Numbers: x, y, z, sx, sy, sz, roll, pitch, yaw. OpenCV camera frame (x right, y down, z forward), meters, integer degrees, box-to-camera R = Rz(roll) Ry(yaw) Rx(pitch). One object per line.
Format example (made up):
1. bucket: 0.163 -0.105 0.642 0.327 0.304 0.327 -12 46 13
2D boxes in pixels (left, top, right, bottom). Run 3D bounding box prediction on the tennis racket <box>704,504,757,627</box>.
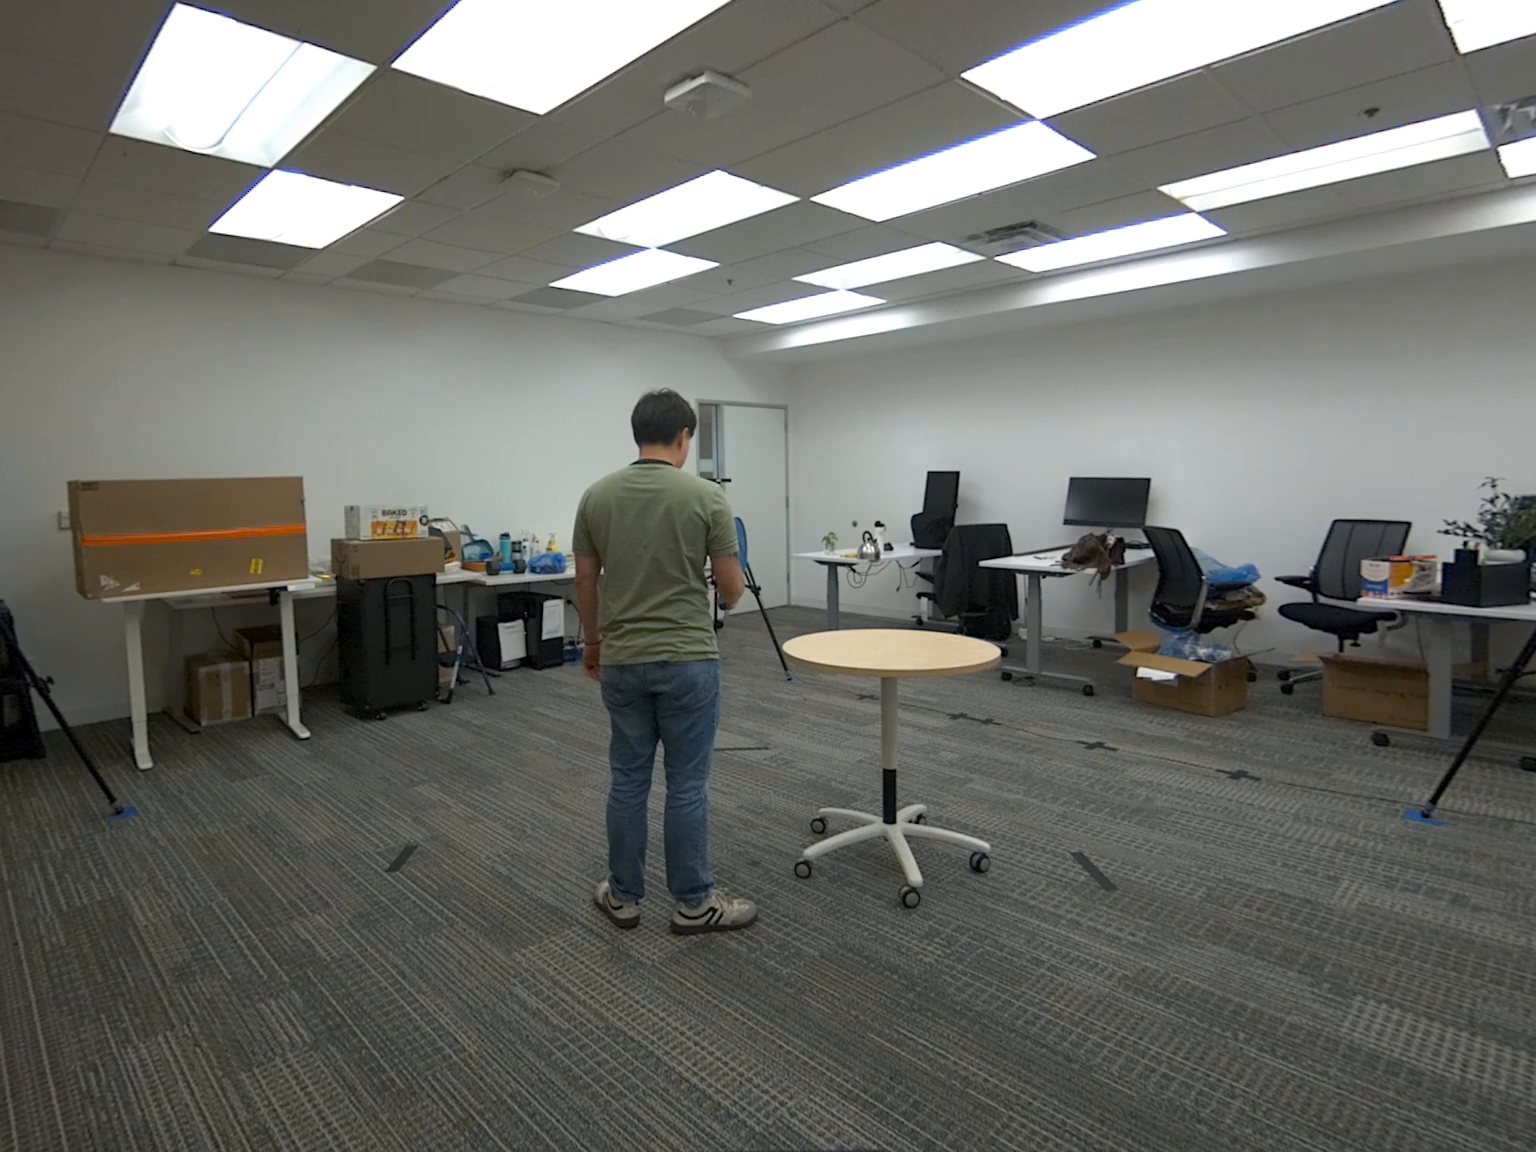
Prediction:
1. tennis racket: -0.152 -0.047 3.081 0.032 0.207 0.438 -5 37 24
